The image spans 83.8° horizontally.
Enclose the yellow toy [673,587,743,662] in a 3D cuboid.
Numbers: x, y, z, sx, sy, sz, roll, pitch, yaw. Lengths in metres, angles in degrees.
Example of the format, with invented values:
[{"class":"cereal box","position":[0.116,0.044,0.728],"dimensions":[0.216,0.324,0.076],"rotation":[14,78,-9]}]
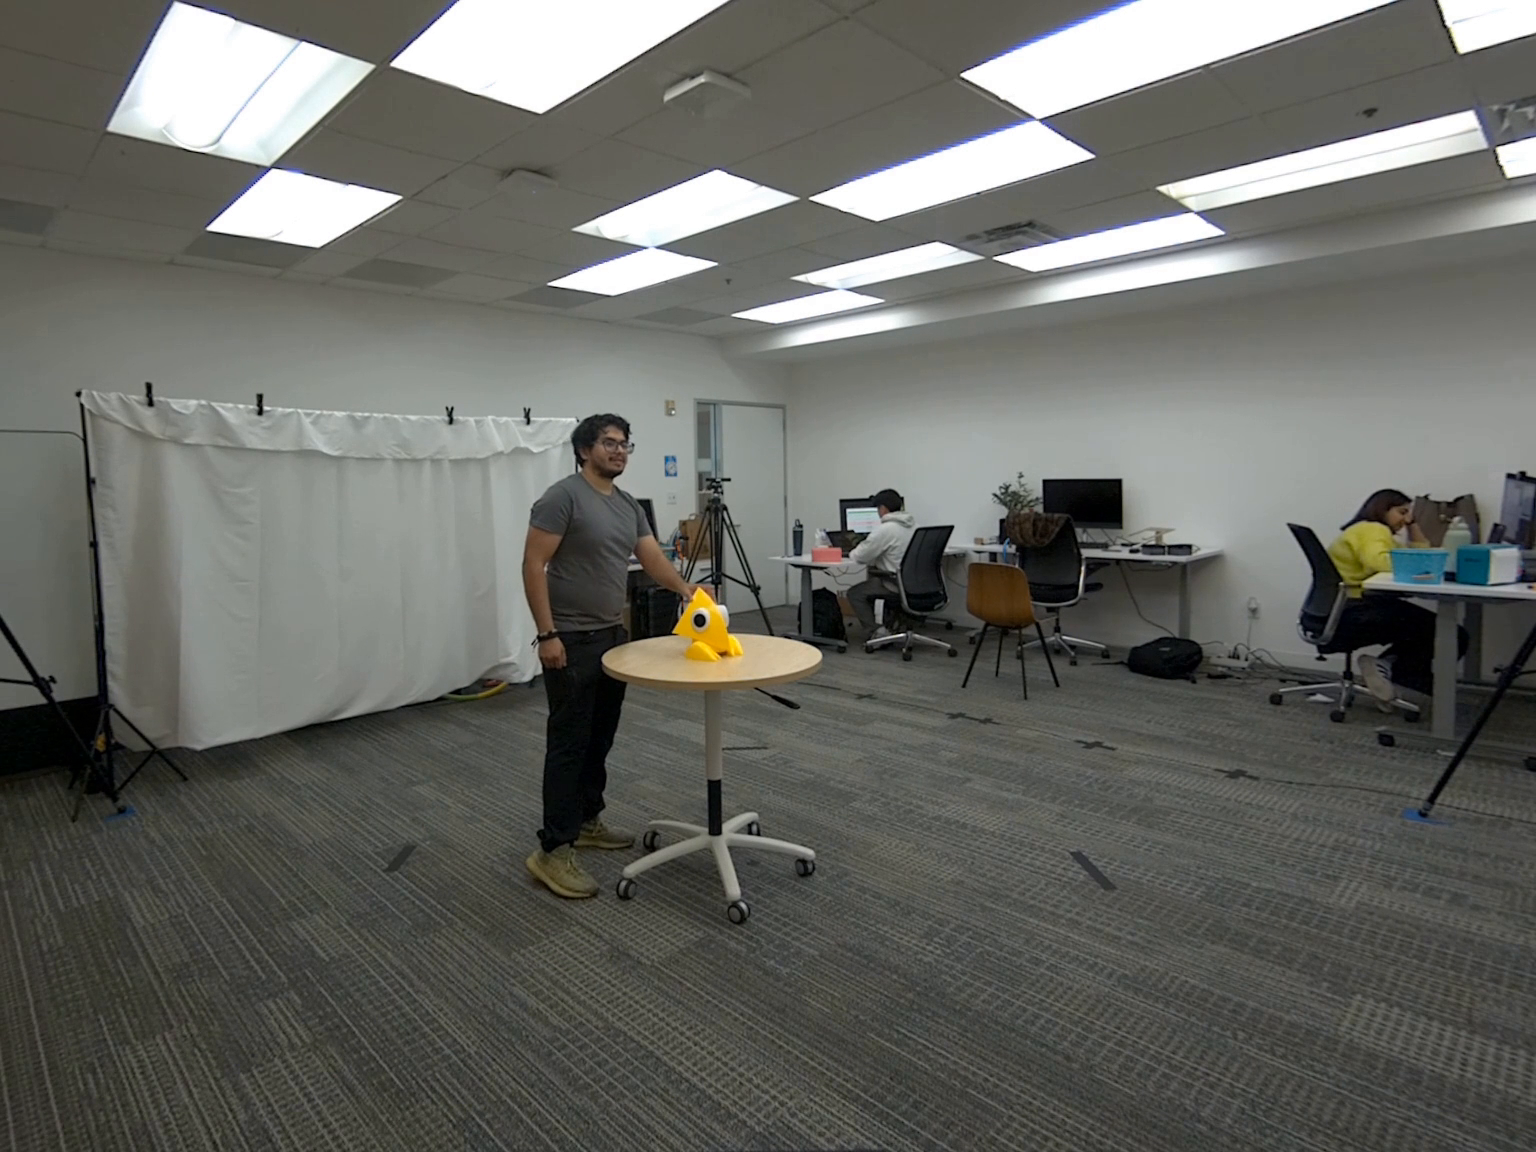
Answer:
[{"class":"yellow toy","position":[-0.200,0.158,2.986],"dimensions":[0.199,0.230,0.199],"rotation":[-6,7,-44]}]
